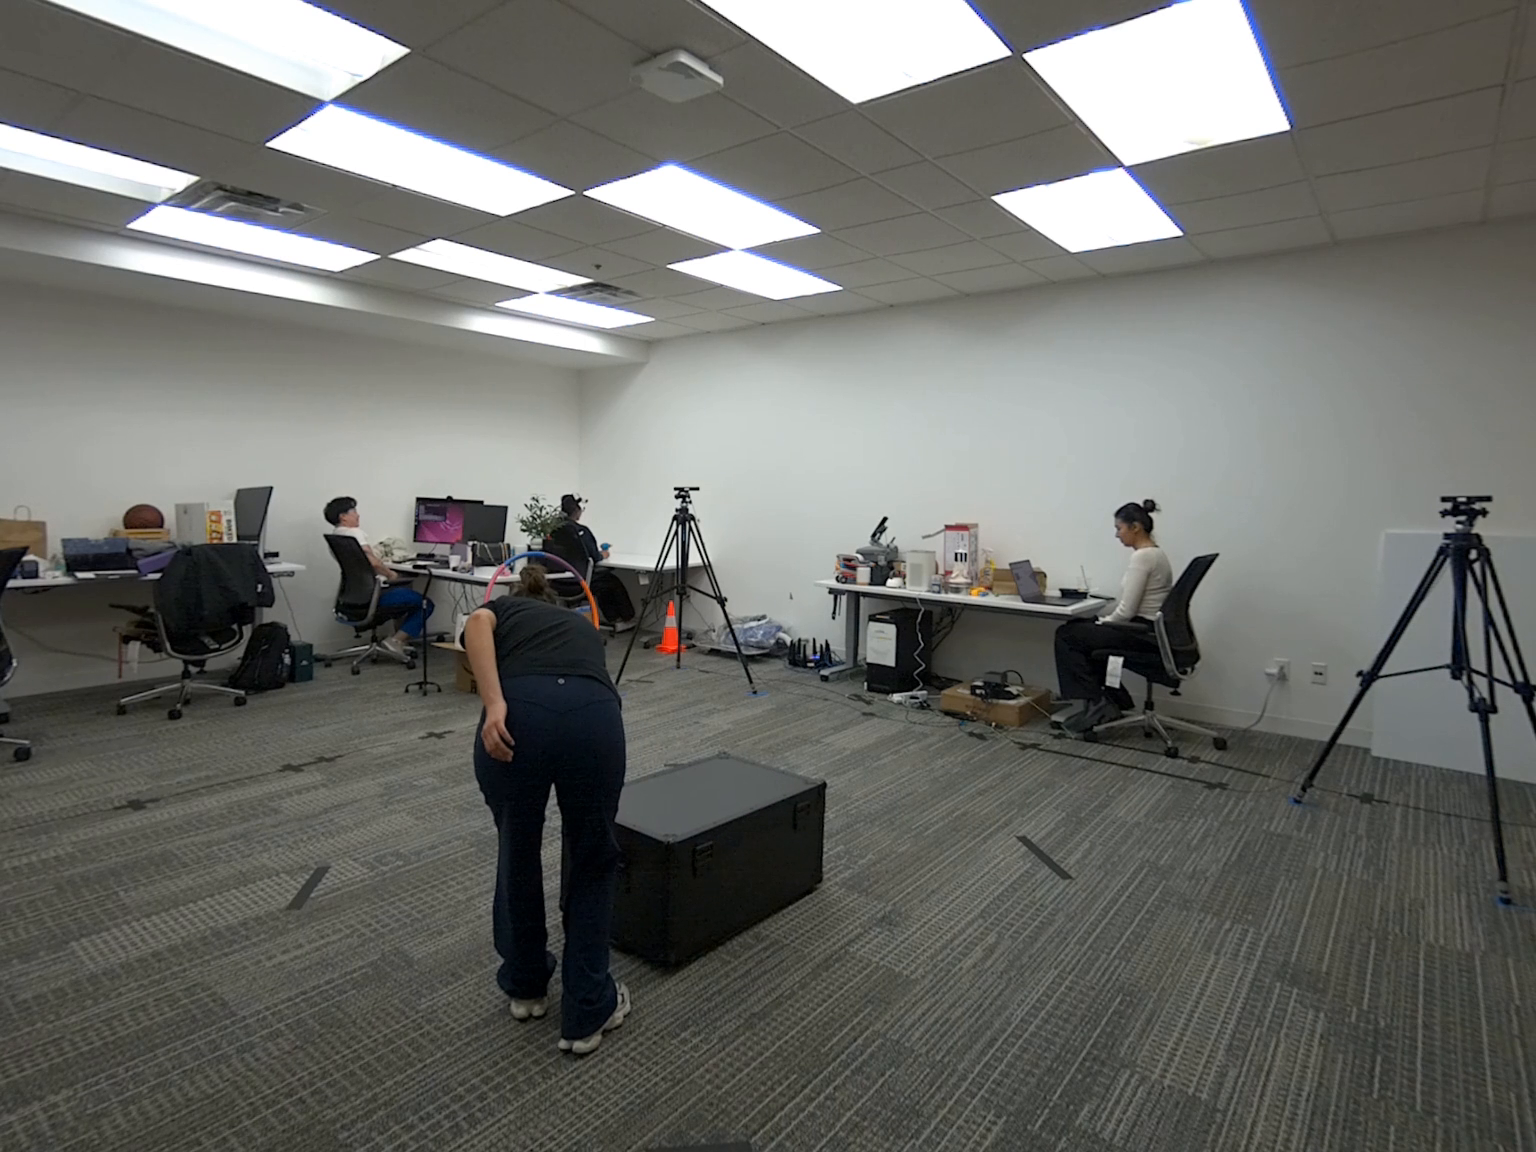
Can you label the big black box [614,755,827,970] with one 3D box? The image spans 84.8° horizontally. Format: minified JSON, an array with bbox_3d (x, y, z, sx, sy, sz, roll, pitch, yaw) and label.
[{"bbox_3d":[-0.194,0.895,2.869,0.539,0.395,0.836,6,7,39],"label":"big black box"}]
